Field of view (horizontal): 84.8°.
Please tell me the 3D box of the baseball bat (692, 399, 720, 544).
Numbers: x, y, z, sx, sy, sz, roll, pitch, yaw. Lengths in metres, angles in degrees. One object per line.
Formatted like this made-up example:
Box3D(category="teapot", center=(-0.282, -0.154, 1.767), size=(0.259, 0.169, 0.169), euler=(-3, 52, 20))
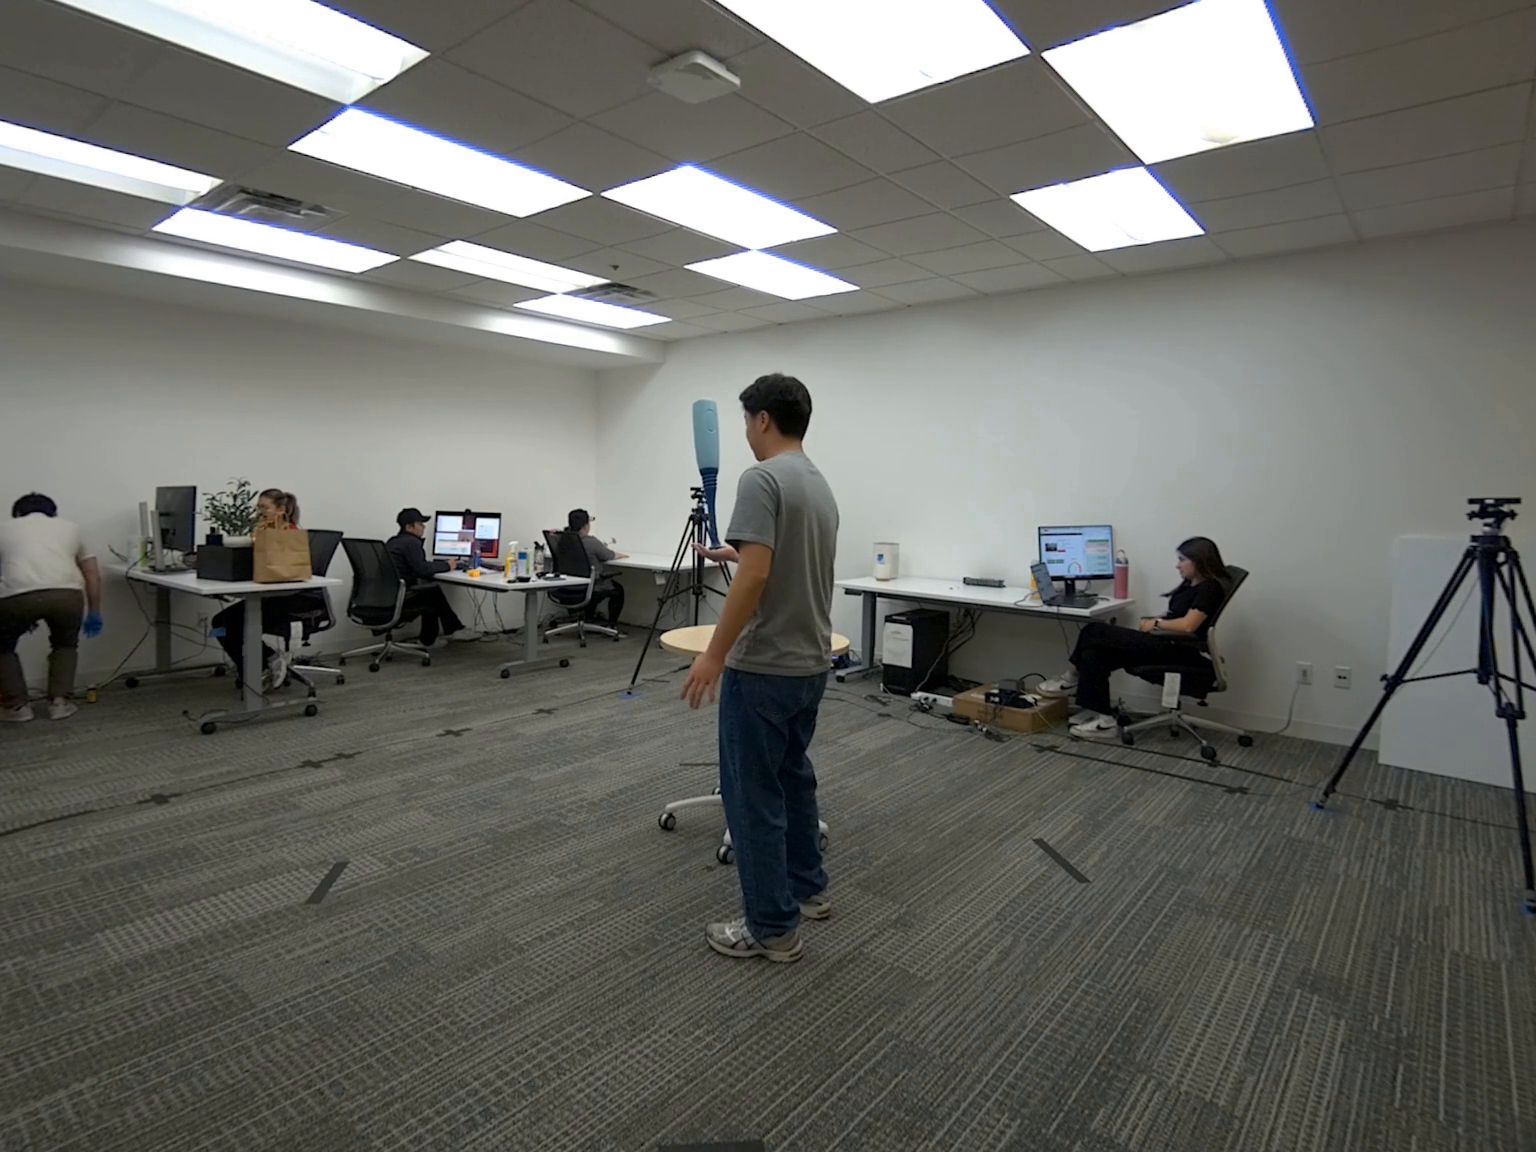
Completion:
Box3D(category="baseball bat", center=(-0.221, -0.357, 2.947), size=(0.089, 0.548, 0.088), euler=(-3, -10, -2))
